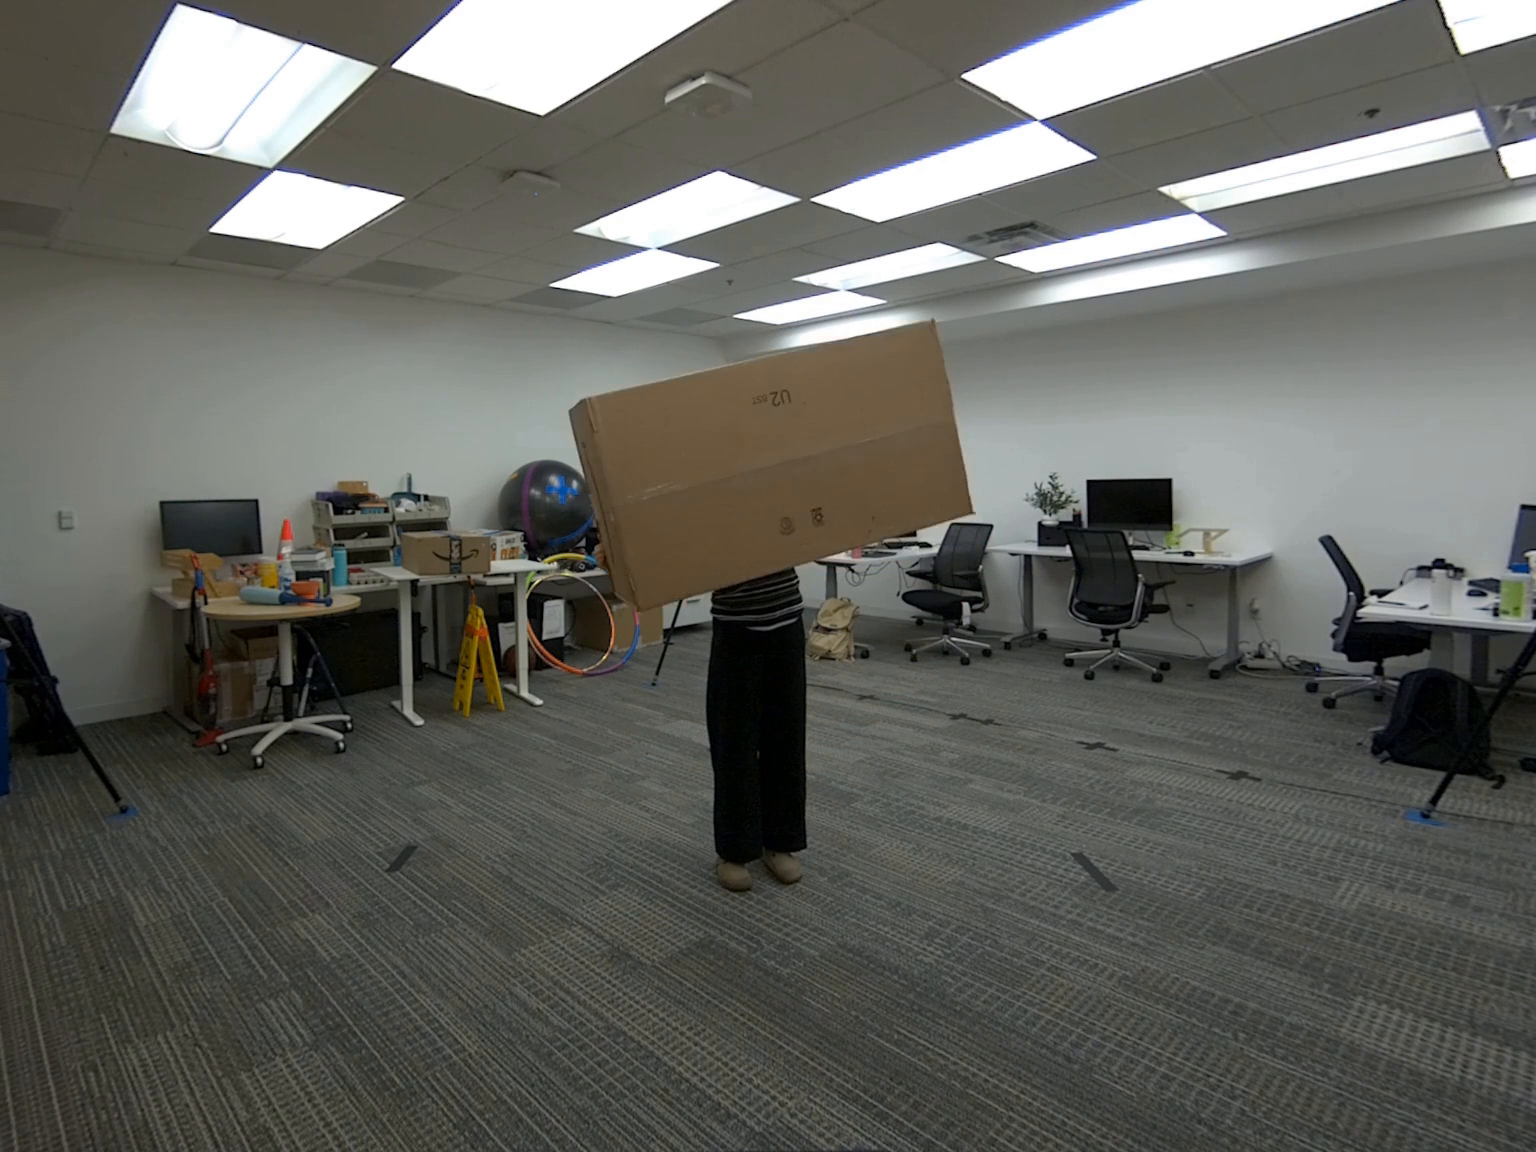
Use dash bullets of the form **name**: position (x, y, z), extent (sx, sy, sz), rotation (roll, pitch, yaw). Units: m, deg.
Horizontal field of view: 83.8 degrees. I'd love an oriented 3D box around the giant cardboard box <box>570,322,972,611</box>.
- **giant cardboard box**: position (-0.002, -0.332, 2.519), extent (1.016, 0.572, 0.435), rotation (-16, 10, -14)
